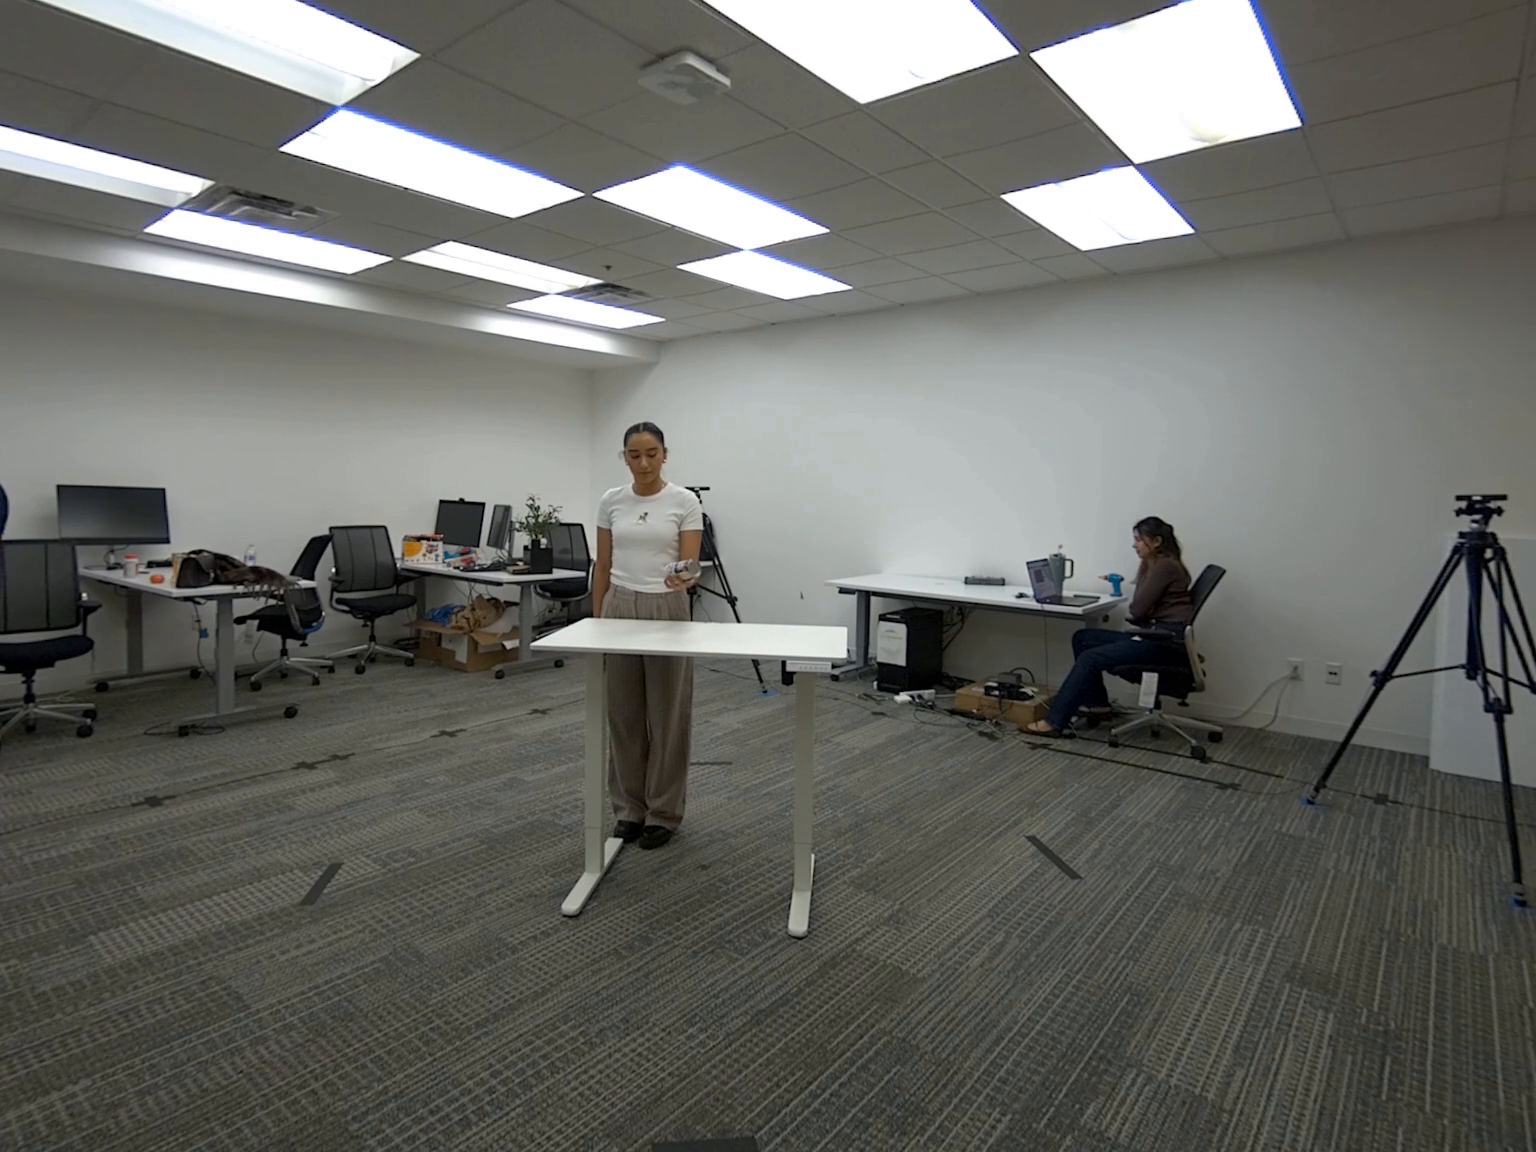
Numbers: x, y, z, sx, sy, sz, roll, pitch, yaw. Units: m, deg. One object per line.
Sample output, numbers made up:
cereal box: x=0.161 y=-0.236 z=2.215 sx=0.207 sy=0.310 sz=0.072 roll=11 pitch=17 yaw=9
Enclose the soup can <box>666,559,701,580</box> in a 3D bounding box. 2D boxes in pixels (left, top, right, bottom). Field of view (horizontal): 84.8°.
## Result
soup can: x=-0.317 y=-0.023 z=2.965 sx=0.124 sy=0.067 sz=0.065 roll=-11 pitch=-5 yaw=43
